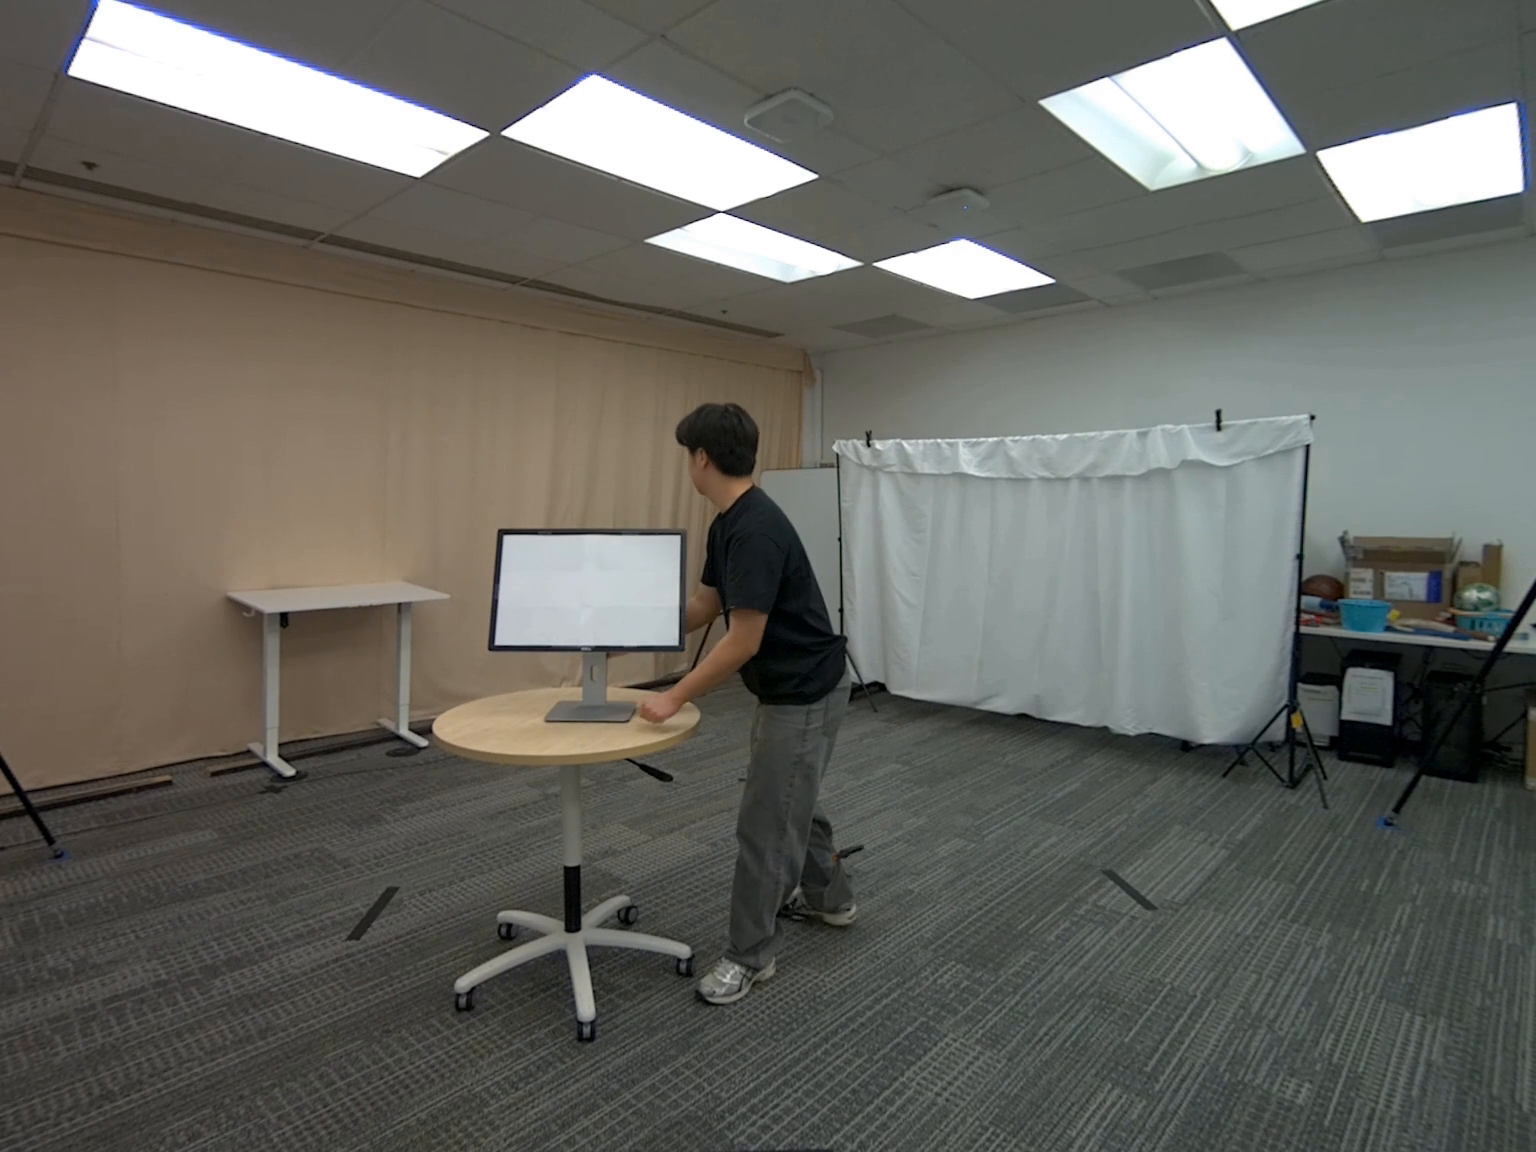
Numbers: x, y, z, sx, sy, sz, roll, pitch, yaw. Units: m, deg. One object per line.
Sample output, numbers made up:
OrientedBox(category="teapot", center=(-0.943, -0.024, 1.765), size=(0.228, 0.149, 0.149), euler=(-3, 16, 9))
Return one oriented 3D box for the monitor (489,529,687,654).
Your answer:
OrientedBox(category="monitor", center=(-0.515, 0.145, 2.463), size=(0.564, 0.565, 0.221), euler=(0, 2, 3))
